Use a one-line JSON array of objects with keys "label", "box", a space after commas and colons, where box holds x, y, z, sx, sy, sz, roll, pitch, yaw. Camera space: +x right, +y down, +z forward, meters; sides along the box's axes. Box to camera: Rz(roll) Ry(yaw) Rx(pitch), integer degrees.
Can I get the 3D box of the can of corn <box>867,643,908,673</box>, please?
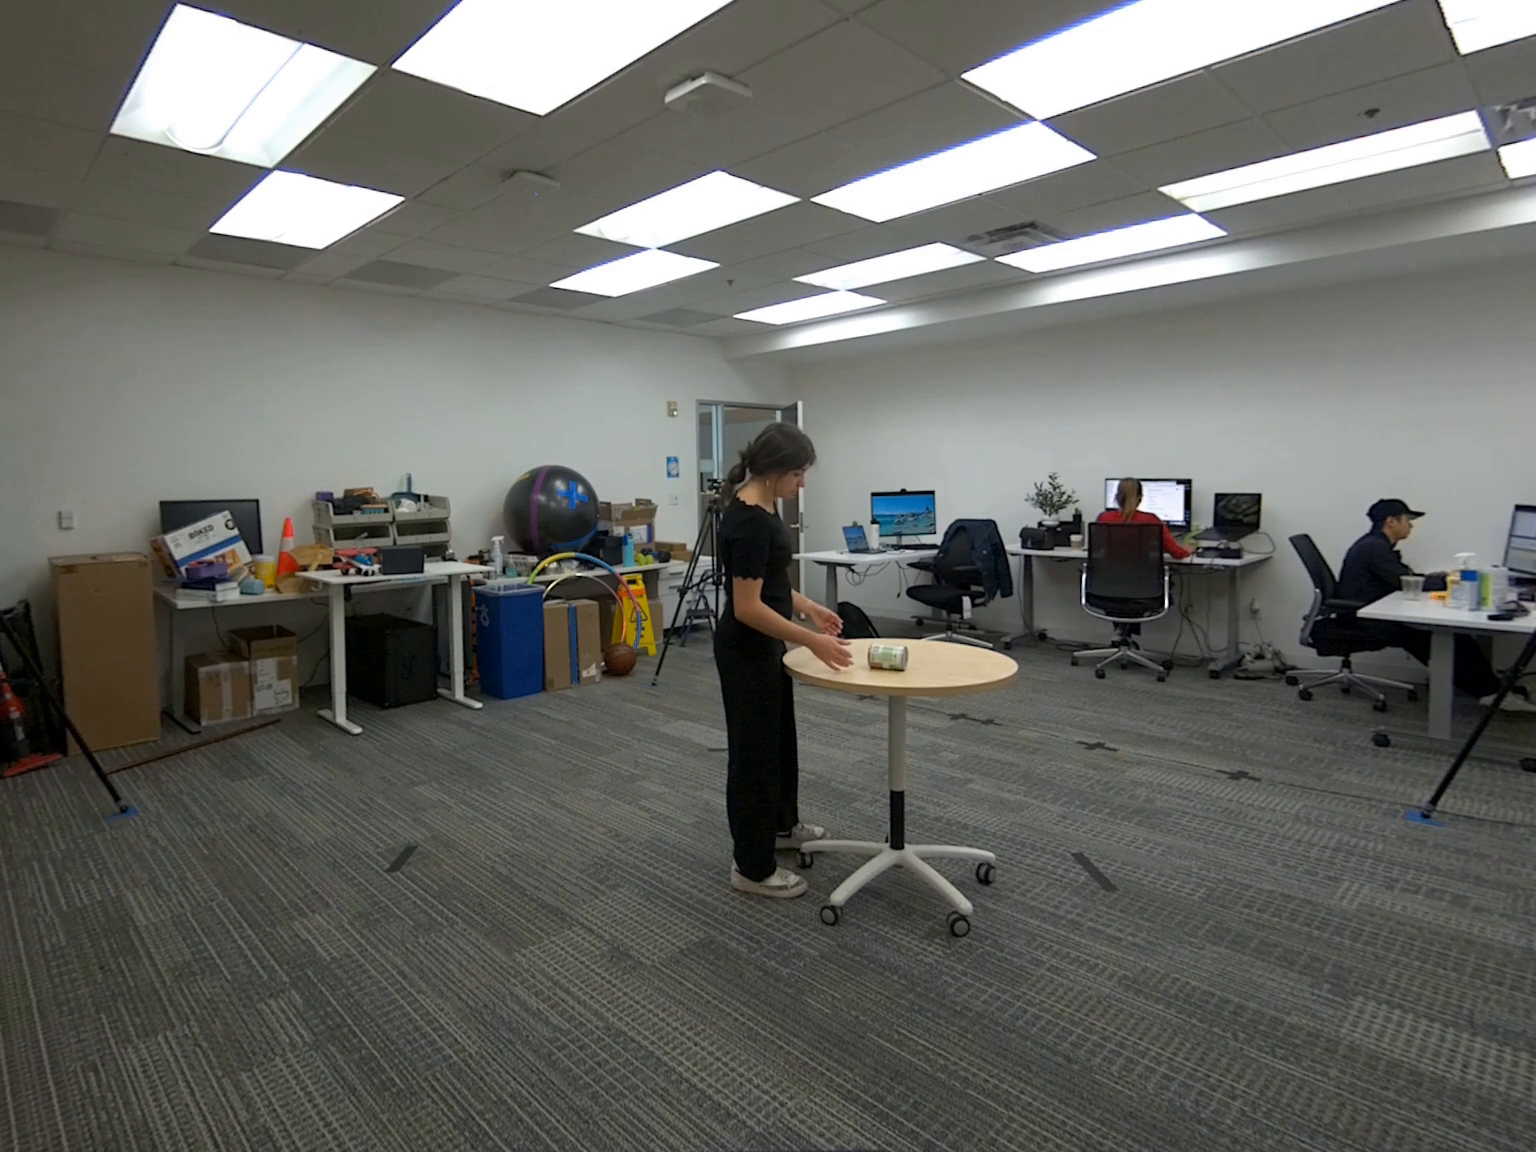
[{"label": "can of corn", "box": [0.380, 0.257, 2.709, 0.113, 0.074, 0.073, 2, 5, 22]}]
